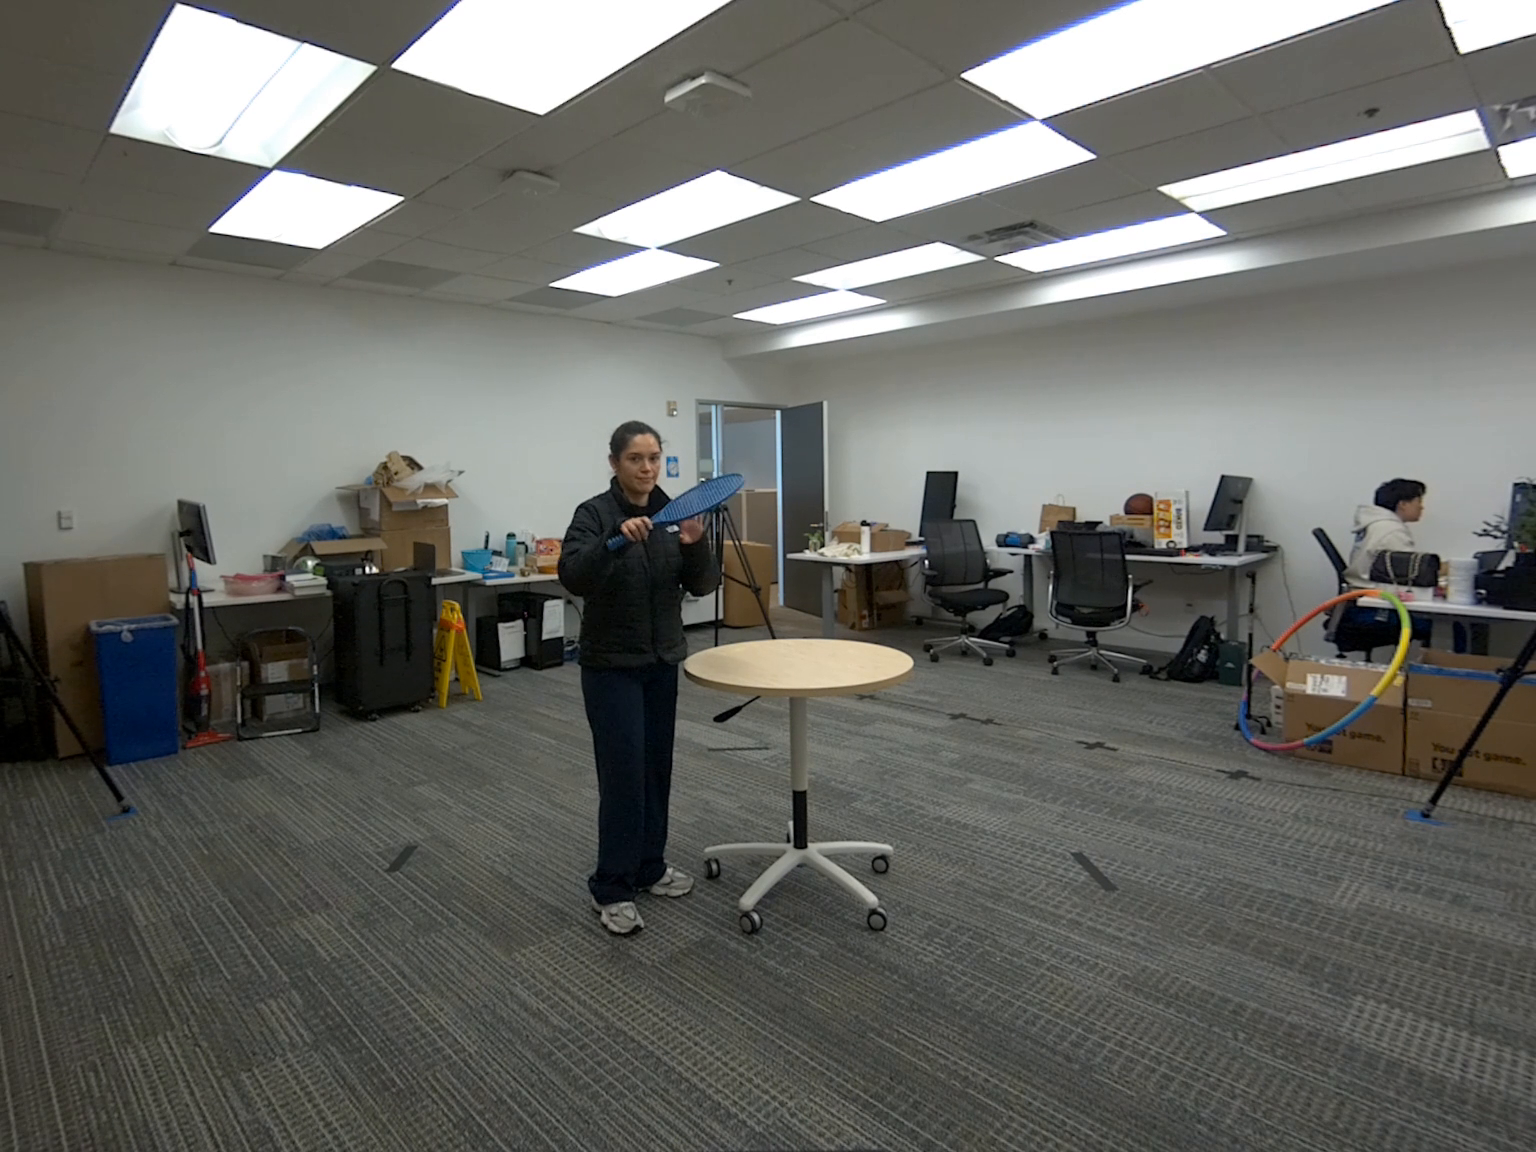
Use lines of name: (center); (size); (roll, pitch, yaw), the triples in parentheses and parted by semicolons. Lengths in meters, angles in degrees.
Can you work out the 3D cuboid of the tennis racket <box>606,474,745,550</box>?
tennis racket: (-0.253, -0.171, 2.402); (0.433, 0.032, 0.213); (-30, -1, 3)
